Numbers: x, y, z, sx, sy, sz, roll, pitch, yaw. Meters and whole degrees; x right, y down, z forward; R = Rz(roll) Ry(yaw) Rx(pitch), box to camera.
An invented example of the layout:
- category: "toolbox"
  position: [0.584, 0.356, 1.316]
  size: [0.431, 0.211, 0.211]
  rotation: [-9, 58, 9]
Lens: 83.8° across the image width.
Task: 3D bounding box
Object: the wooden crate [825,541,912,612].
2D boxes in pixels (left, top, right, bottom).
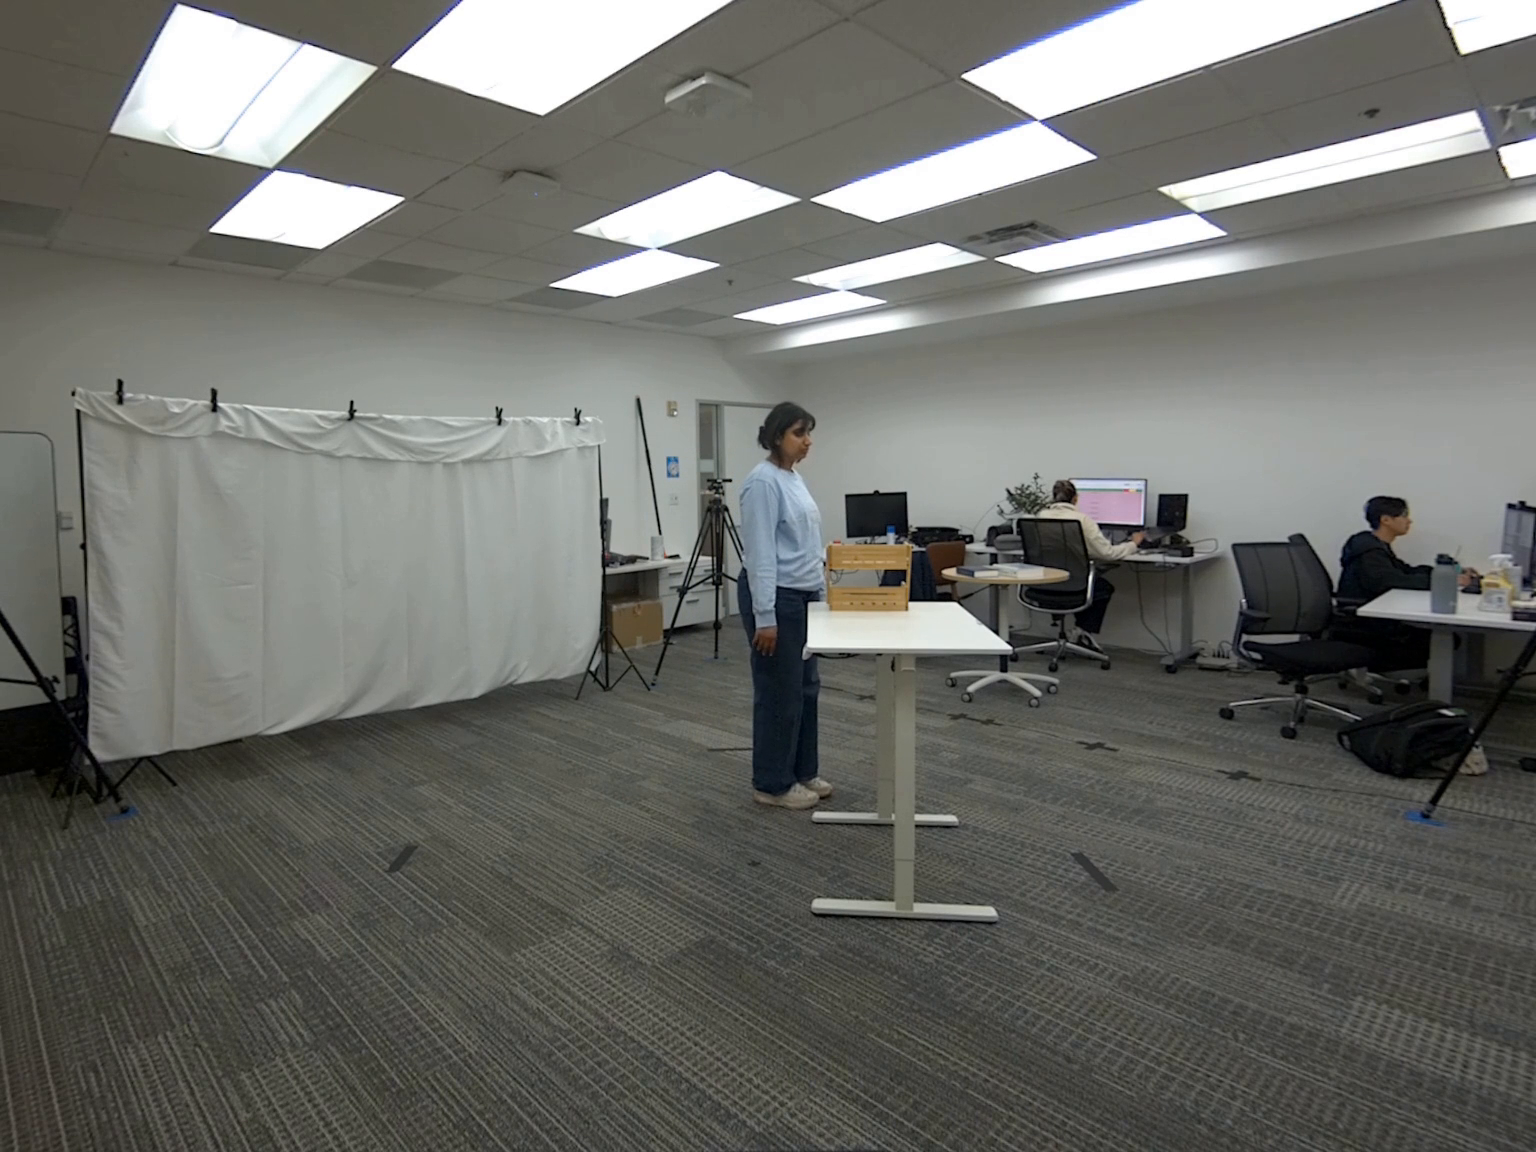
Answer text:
- category: "wooden crate"
  position: [0.405, -0.007, 3.396]
  size: [0.327, 0.272, 0.301]
  rotation: [0, 6, 6]
